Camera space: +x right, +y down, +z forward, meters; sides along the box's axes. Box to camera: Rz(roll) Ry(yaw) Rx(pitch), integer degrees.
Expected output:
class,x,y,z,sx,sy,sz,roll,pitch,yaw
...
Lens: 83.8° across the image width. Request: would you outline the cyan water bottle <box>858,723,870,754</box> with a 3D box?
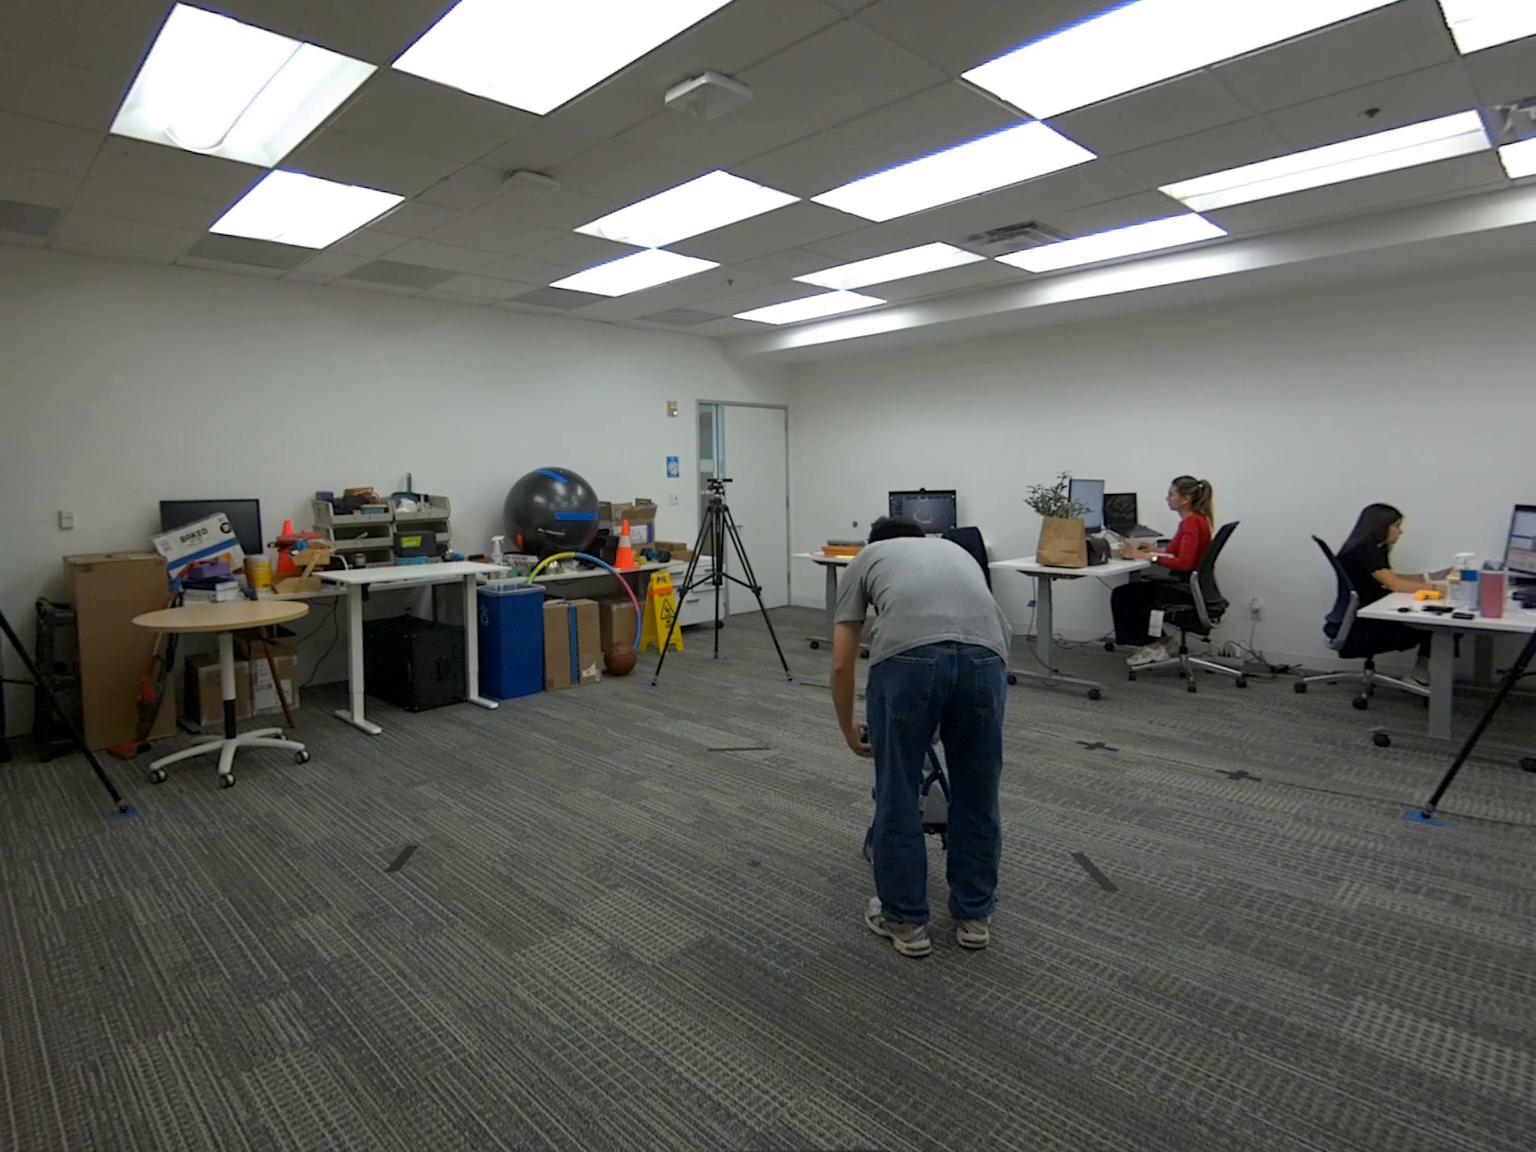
class,x,y,z,sx,sy,sz,roll,pitch,yaw
cyan water bottle,0.454,0.584,2.922,0.283,0.092,0.092,14,4,-1
